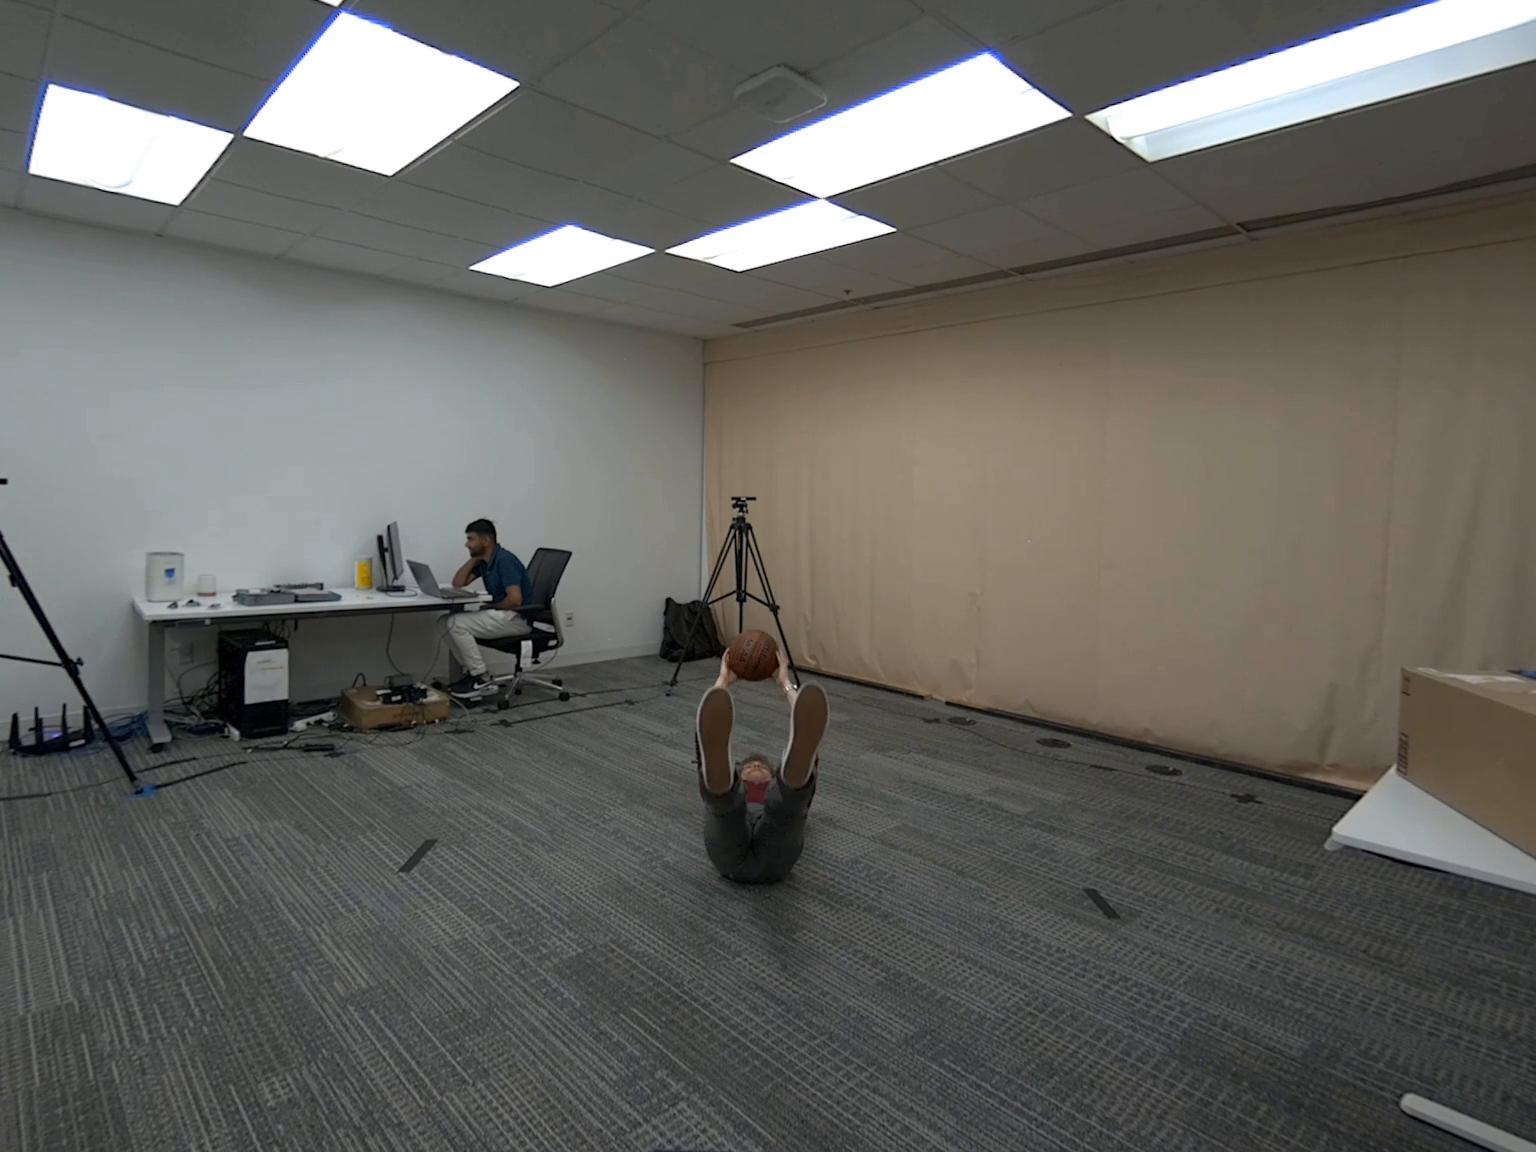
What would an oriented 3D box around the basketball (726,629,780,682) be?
[{"bbox_3d":[-0.075,0.374,3.872,0.236,0.235,0.237,1,4,-1],"label":"basketball"}]
